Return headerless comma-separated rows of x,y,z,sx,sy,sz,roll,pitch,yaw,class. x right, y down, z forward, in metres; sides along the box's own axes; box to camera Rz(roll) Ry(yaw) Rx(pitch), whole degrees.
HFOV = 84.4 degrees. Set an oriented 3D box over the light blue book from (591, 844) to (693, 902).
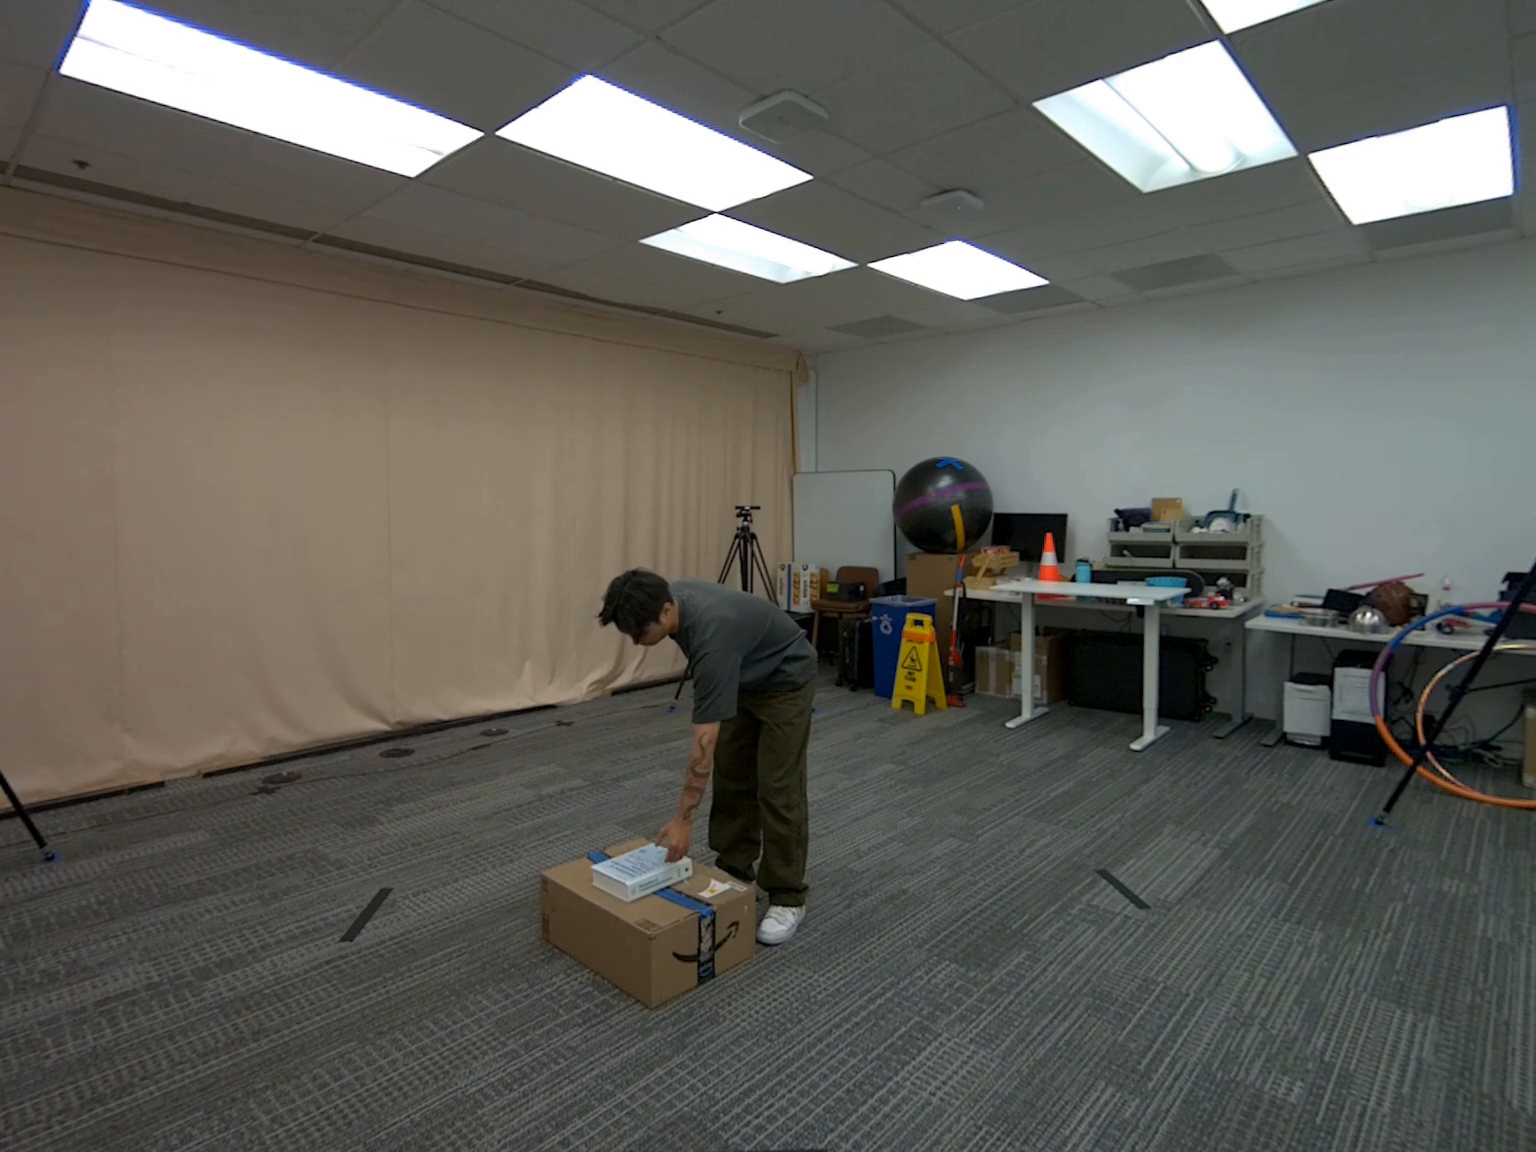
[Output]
-0.395,0.932,2.666,0.198,0.059,0.253,3,5,43,light blue book
